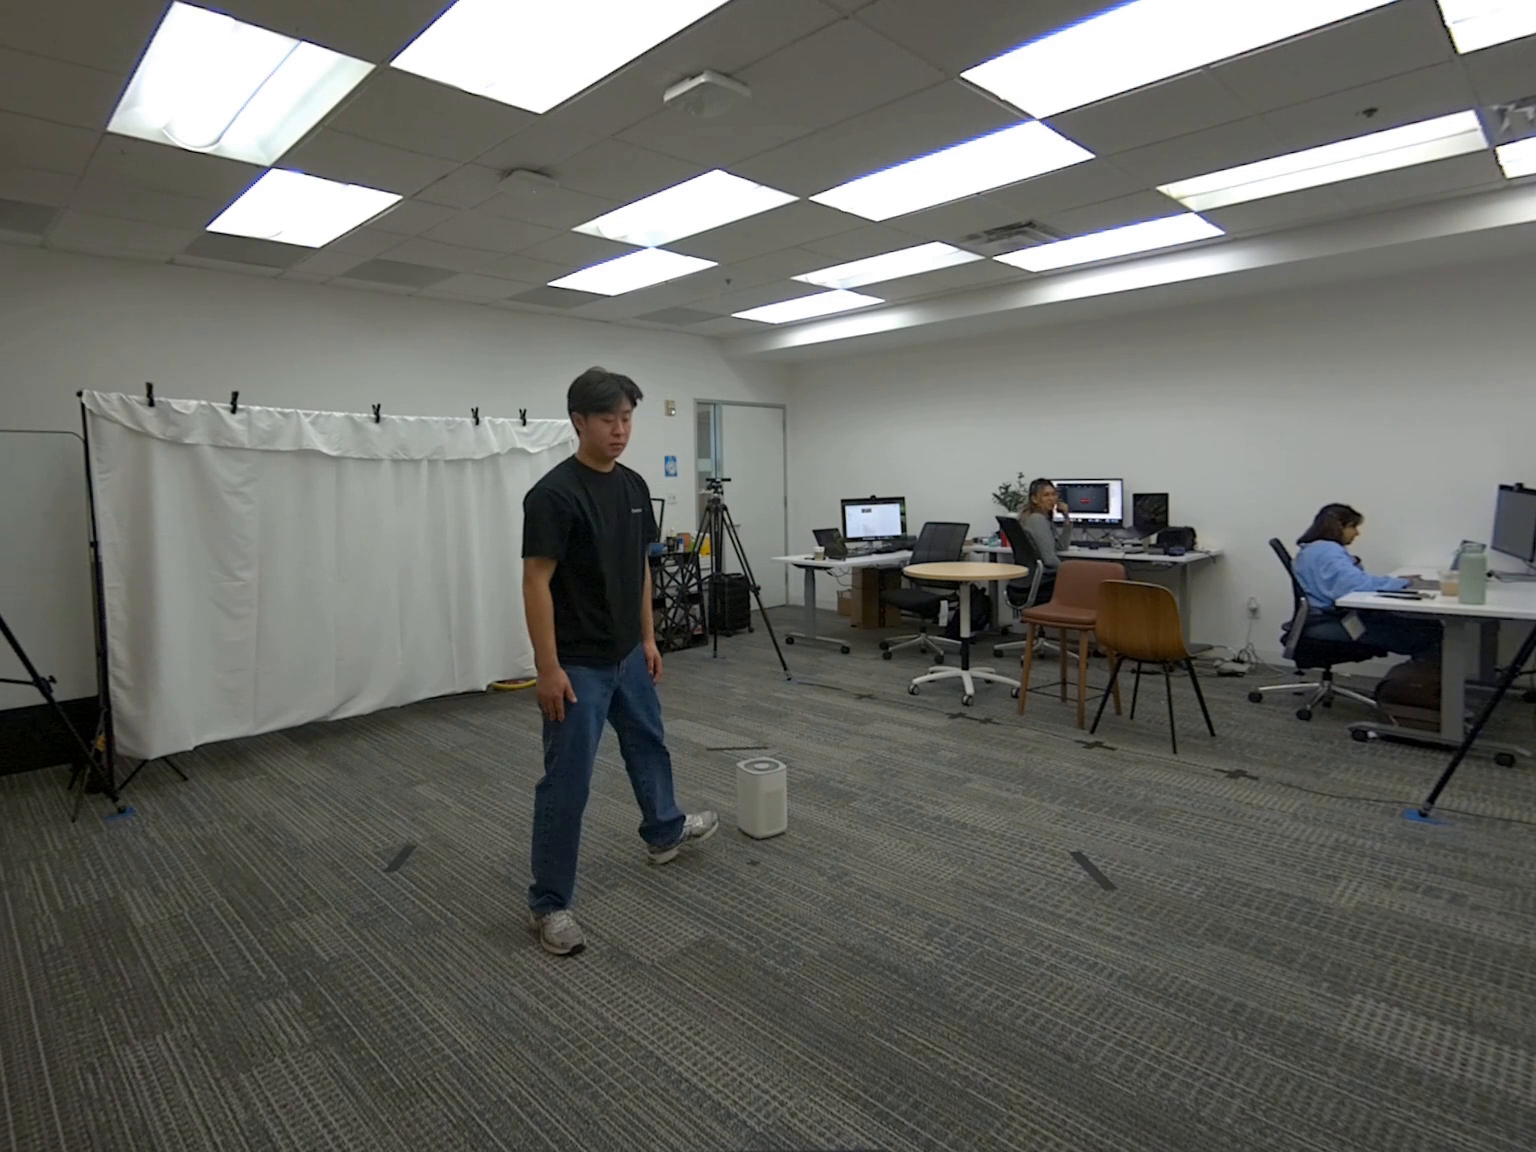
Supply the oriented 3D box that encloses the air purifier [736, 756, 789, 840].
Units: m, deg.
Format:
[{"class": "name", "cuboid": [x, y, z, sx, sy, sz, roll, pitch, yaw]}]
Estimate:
[{"class": "air purifier", "cuboid": [-0.025, 0.869, 3.372, 0.167, 0.264, 0.176, -4, 6, -37]}]
